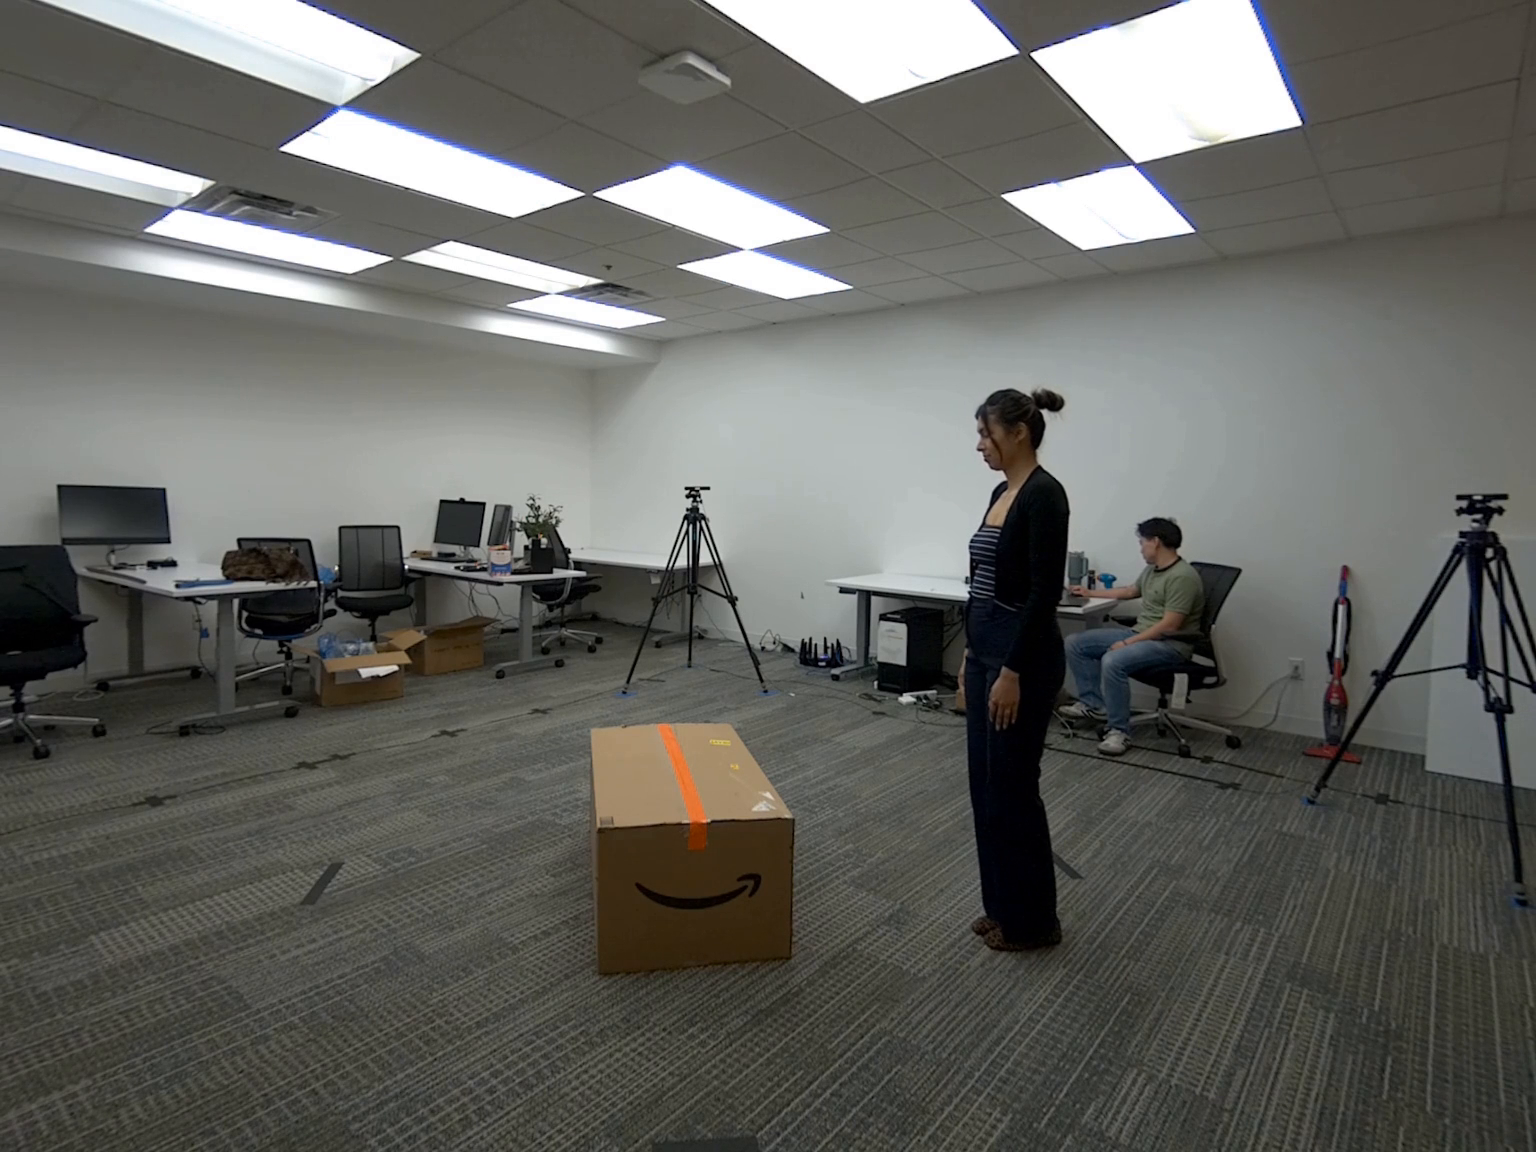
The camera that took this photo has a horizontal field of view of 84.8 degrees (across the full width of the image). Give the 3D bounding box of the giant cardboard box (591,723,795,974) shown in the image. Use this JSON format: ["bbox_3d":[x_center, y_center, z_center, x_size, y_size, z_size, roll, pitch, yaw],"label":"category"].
[{"bbox_3d":[-0.330,0.861,2.951,0.570,0.424,1.042,0,5,-12],"label":"giant cardboard box"}]
